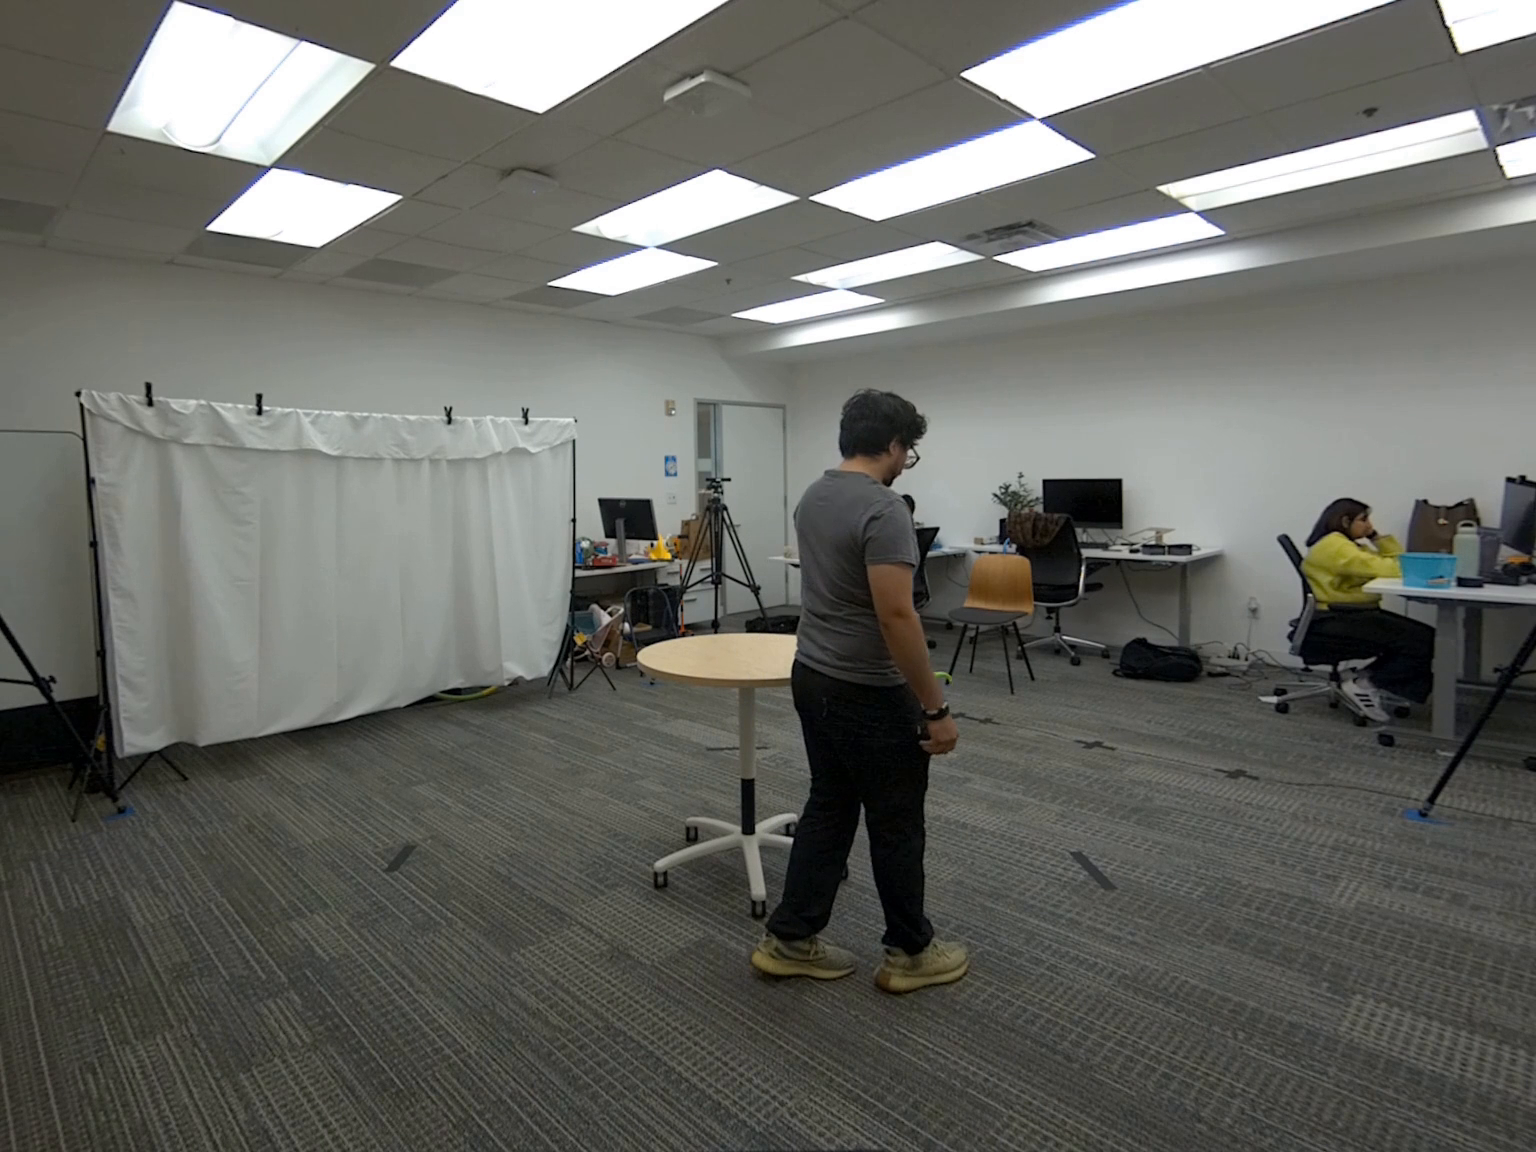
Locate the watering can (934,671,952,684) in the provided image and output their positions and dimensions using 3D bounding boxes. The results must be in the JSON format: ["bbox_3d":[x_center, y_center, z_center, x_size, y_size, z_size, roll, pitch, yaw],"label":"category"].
[{"bbox_3d":[0.490,0.283,2.708,0.177,0.277,0.098,-47,6,-34],"label":"watering can"}]
